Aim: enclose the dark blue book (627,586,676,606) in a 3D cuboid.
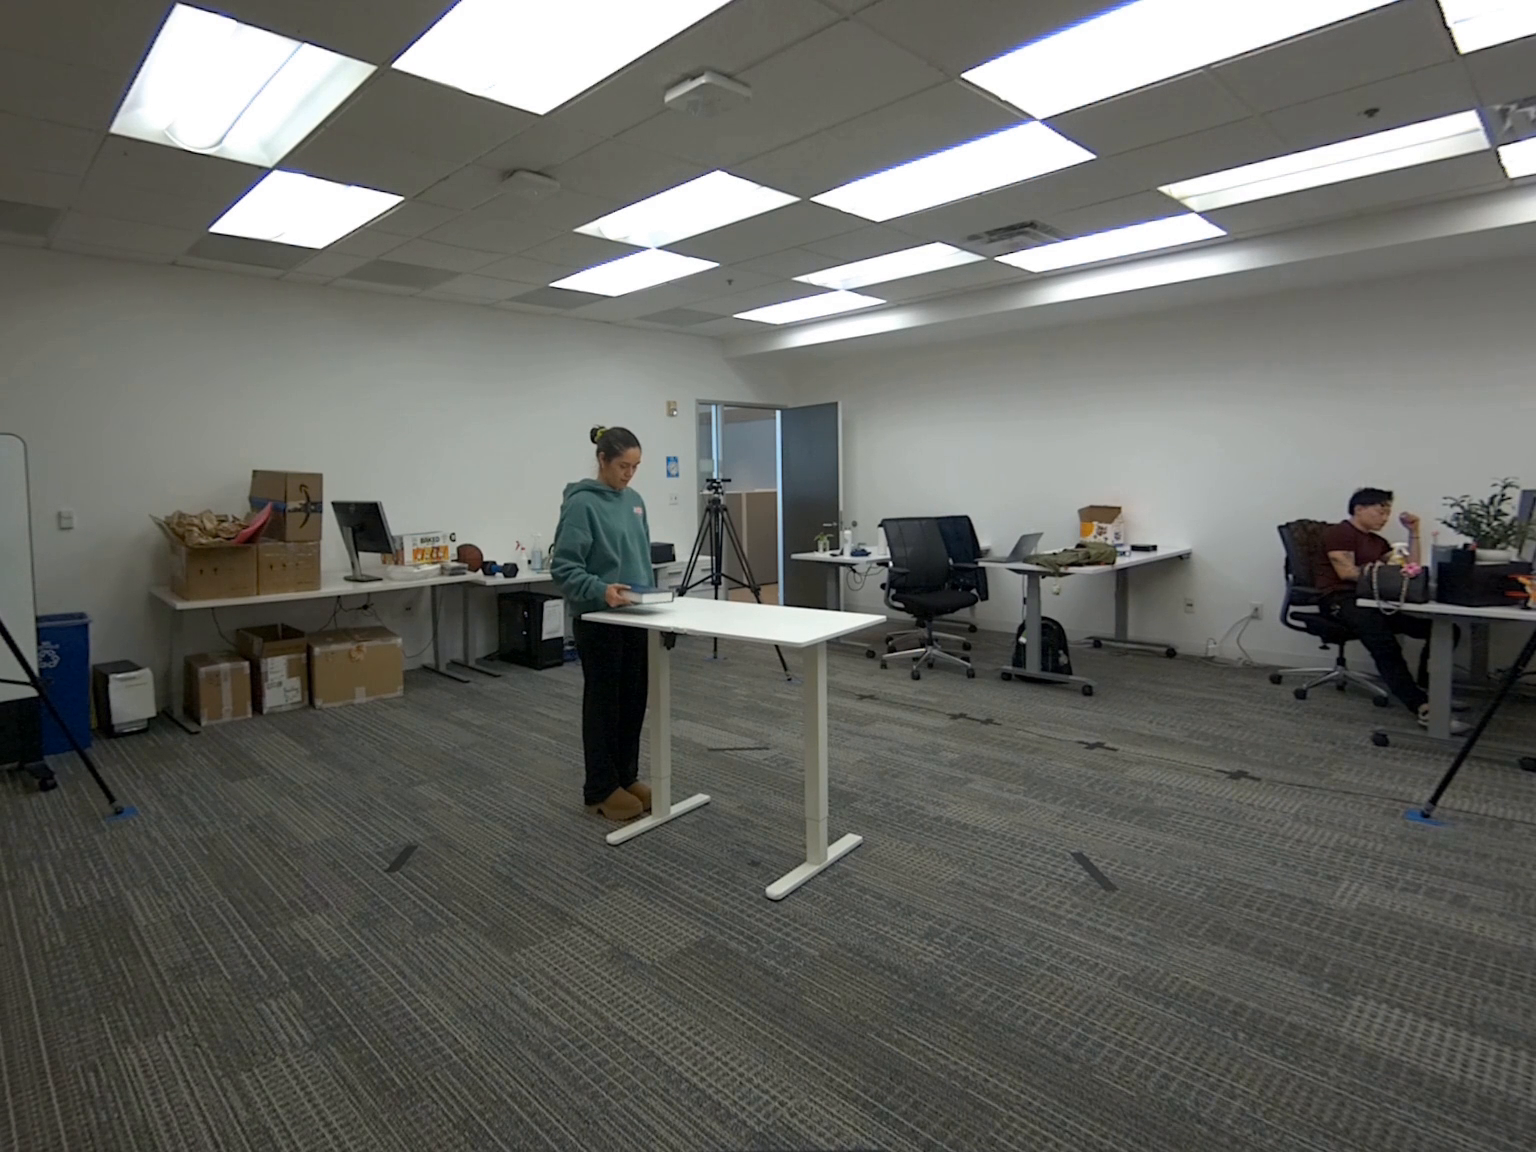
[{"bbox_3d":[-0.512,0.072,3.358,0.253,0.045,0.159,8,8,43],"label":"dark blue book"}]
